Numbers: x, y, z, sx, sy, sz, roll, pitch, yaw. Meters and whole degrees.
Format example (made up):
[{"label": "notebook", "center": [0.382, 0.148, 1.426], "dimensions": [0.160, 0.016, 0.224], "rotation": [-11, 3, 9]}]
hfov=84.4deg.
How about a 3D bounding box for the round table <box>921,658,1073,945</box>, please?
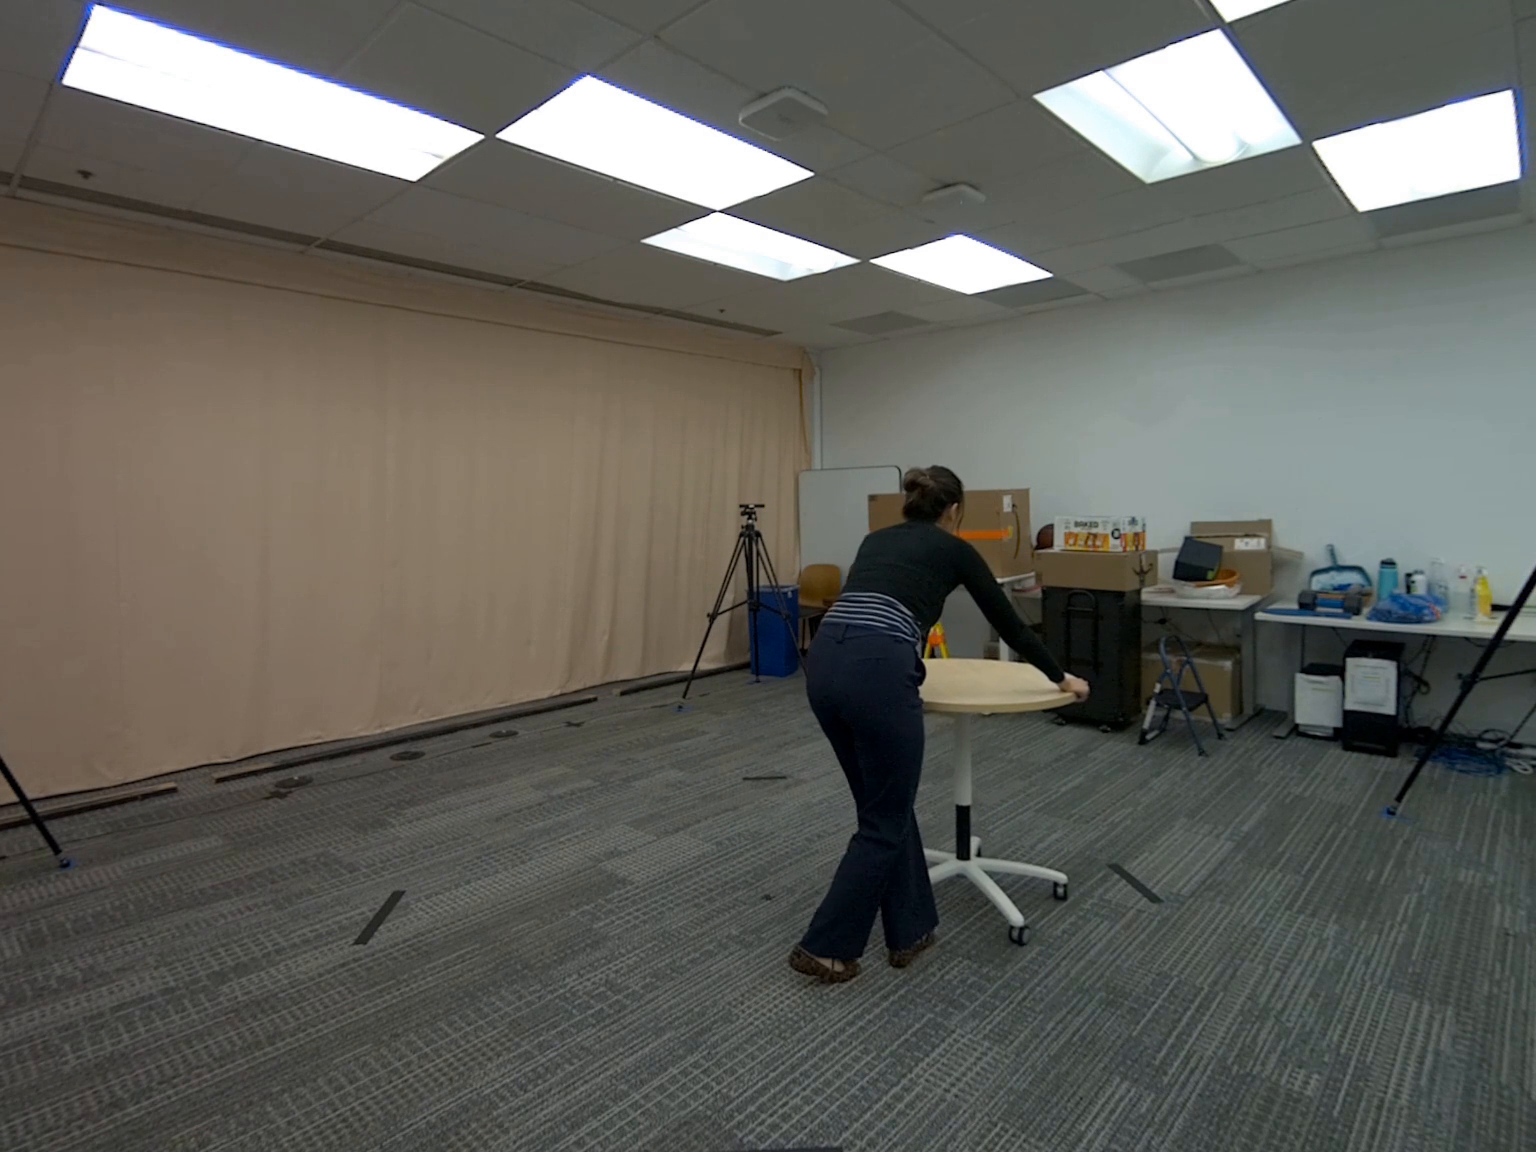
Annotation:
[{"label": "round table", "center": [0.686, 0.746, 2.952], "dimensions": [0.763, 0.792, 0.766], "rotation": [-1, 4, -2]}]
